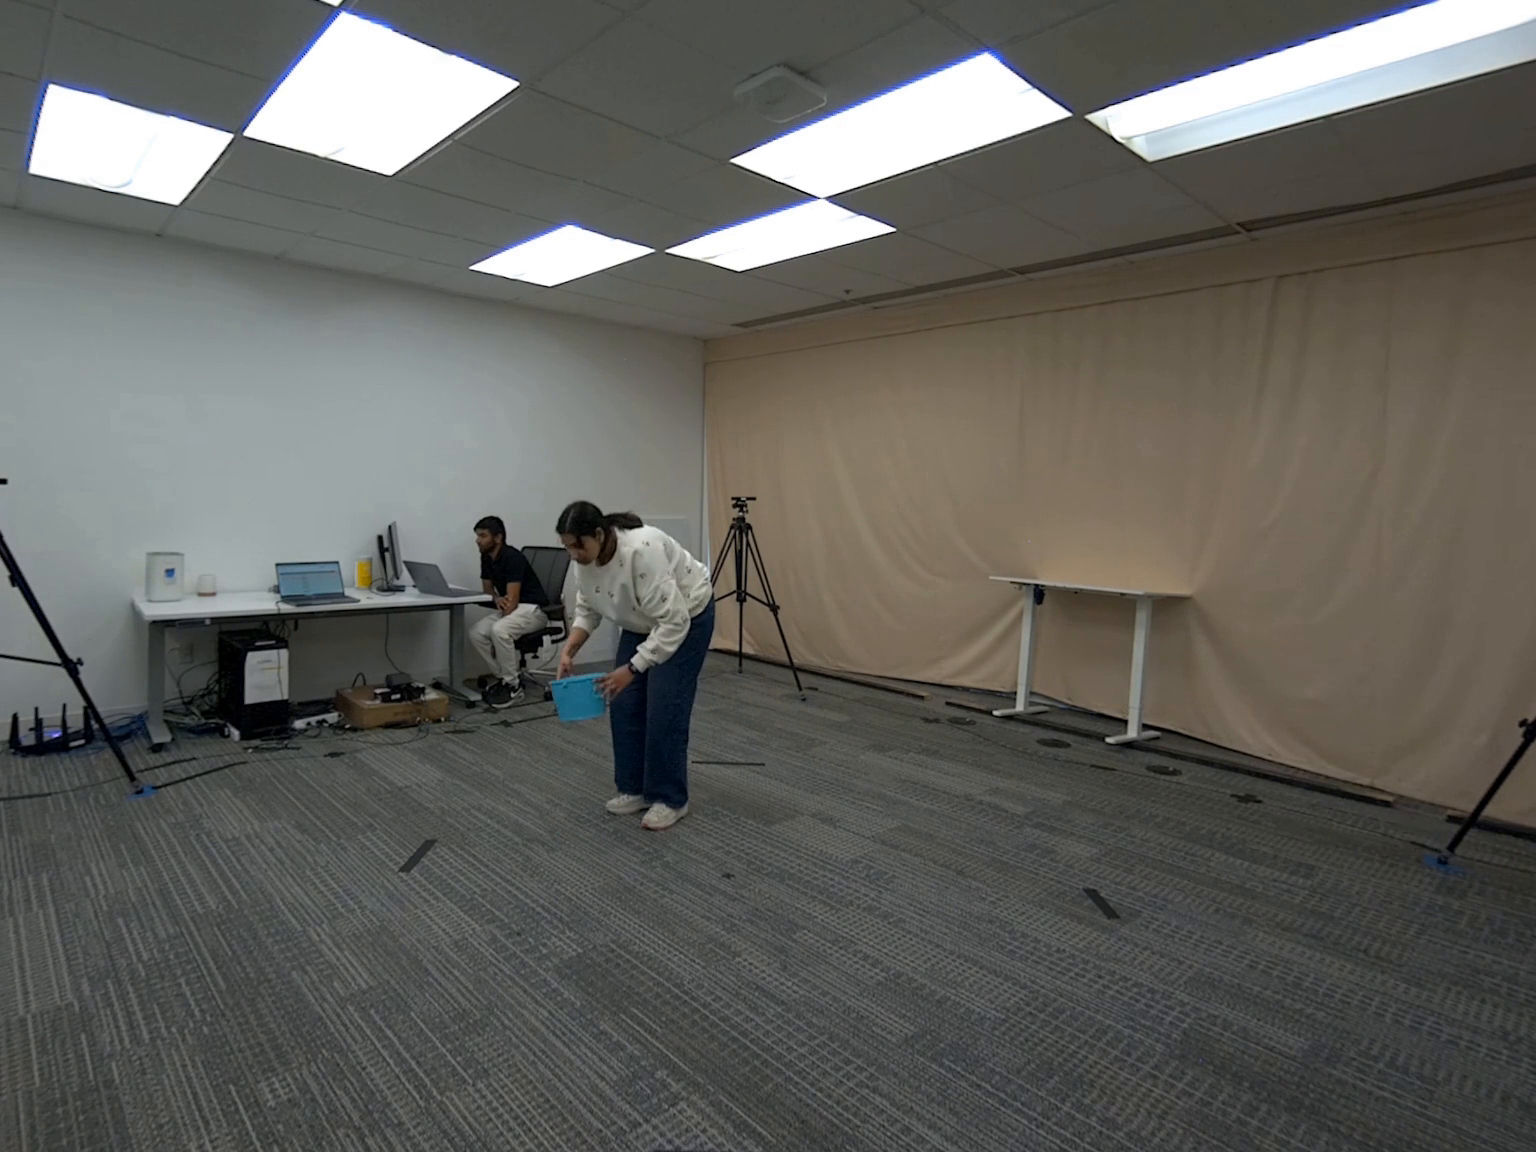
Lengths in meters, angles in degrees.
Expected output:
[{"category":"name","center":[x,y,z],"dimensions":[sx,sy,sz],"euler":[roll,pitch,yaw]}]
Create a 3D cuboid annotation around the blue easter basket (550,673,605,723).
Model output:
[{"category":"blue easter basket","center":[-0.768,0.482,3.335],"dimensions":[0.243,0.156,0.243],"euler":[-6,-2,-2]}]
